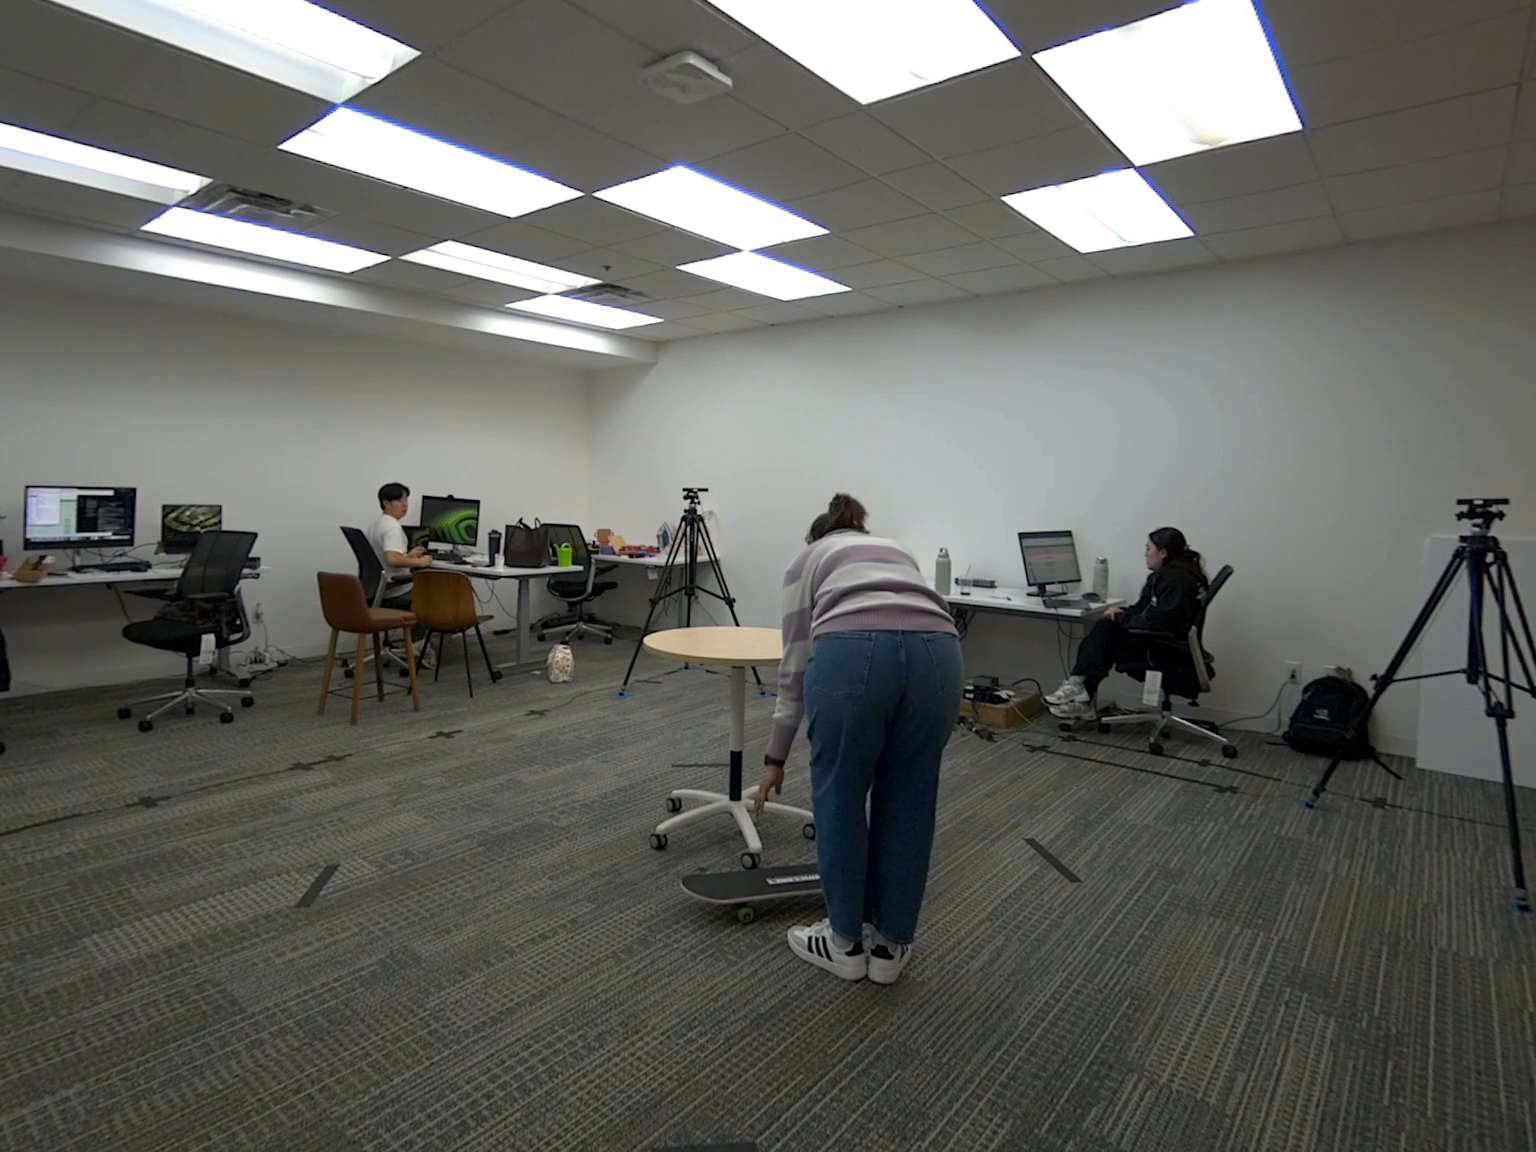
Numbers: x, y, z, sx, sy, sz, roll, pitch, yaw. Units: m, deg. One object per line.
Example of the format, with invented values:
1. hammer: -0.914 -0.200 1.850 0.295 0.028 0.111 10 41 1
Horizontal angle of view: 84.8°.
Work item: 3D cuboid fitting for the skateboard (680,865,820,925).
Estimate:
1. skateboard: 0.086 1.040 2.857 0.773 0.110 0.197 0 5 -16
